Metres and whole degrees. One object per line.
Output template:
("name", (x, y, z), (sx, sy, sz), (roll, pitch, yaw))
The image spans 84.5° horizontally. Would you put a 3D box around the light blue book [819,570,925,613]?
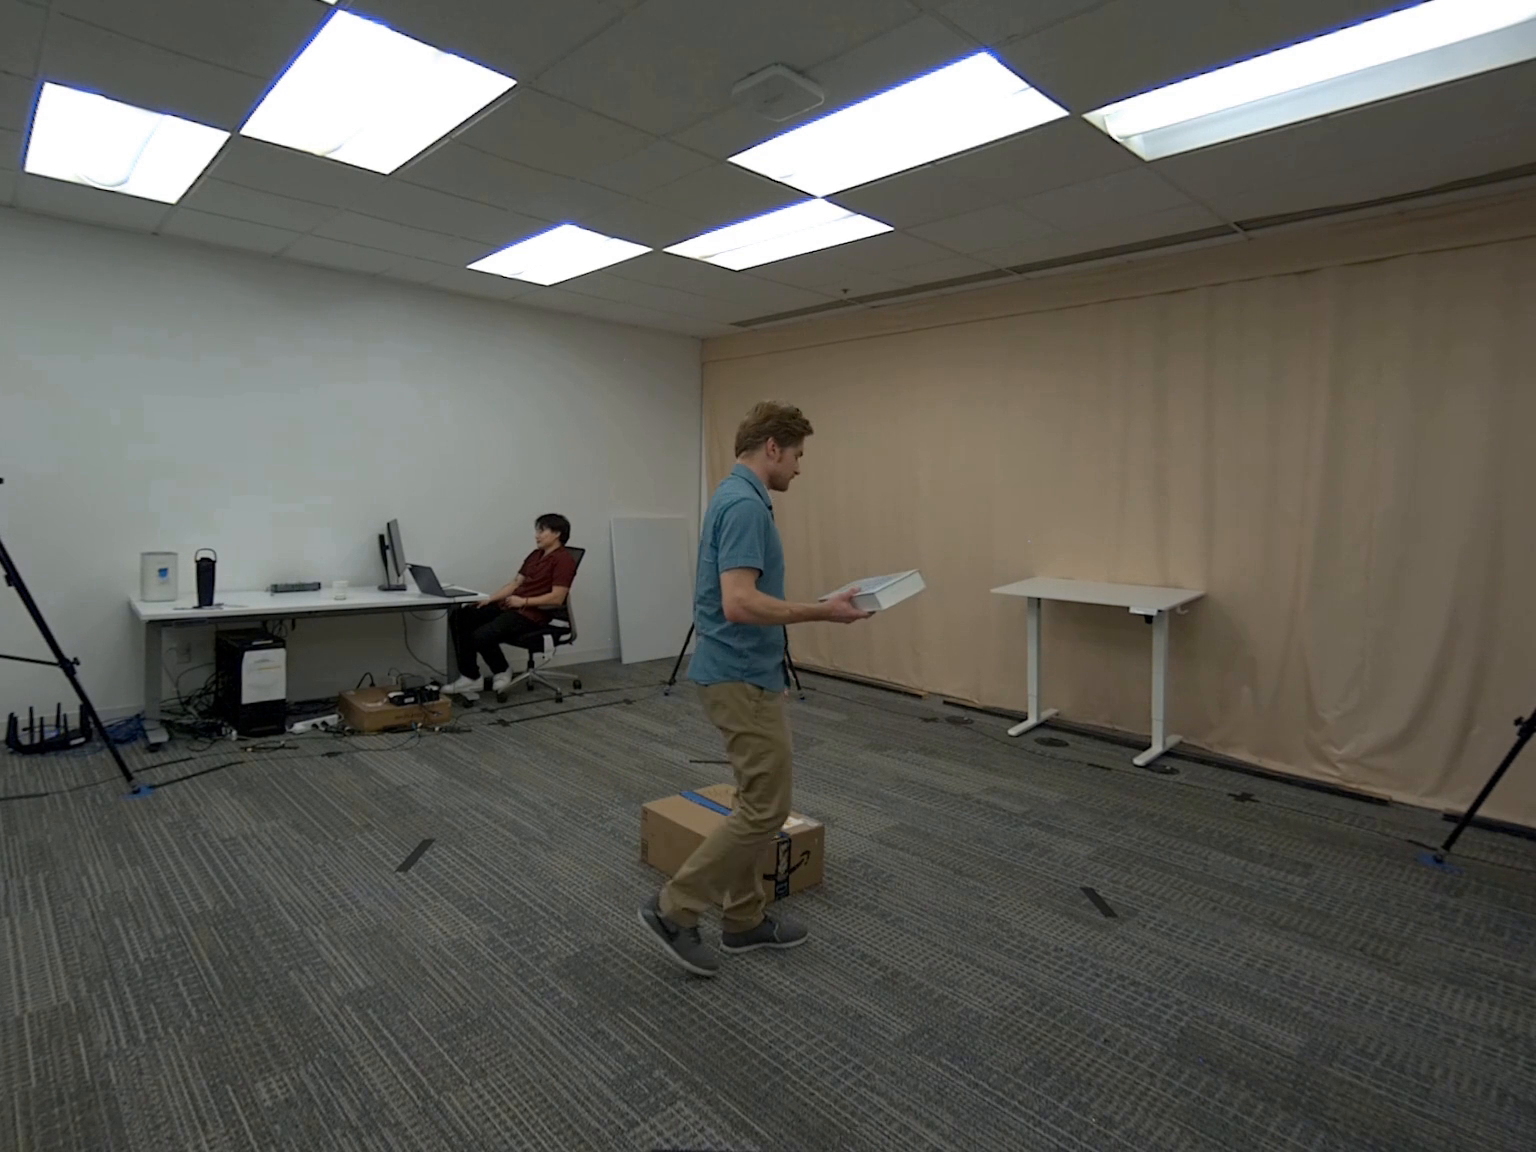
("light blue book", (0.296, 0.054, 2.427), (0.189, 0.059, 0.265), (-23, 7, -35))
